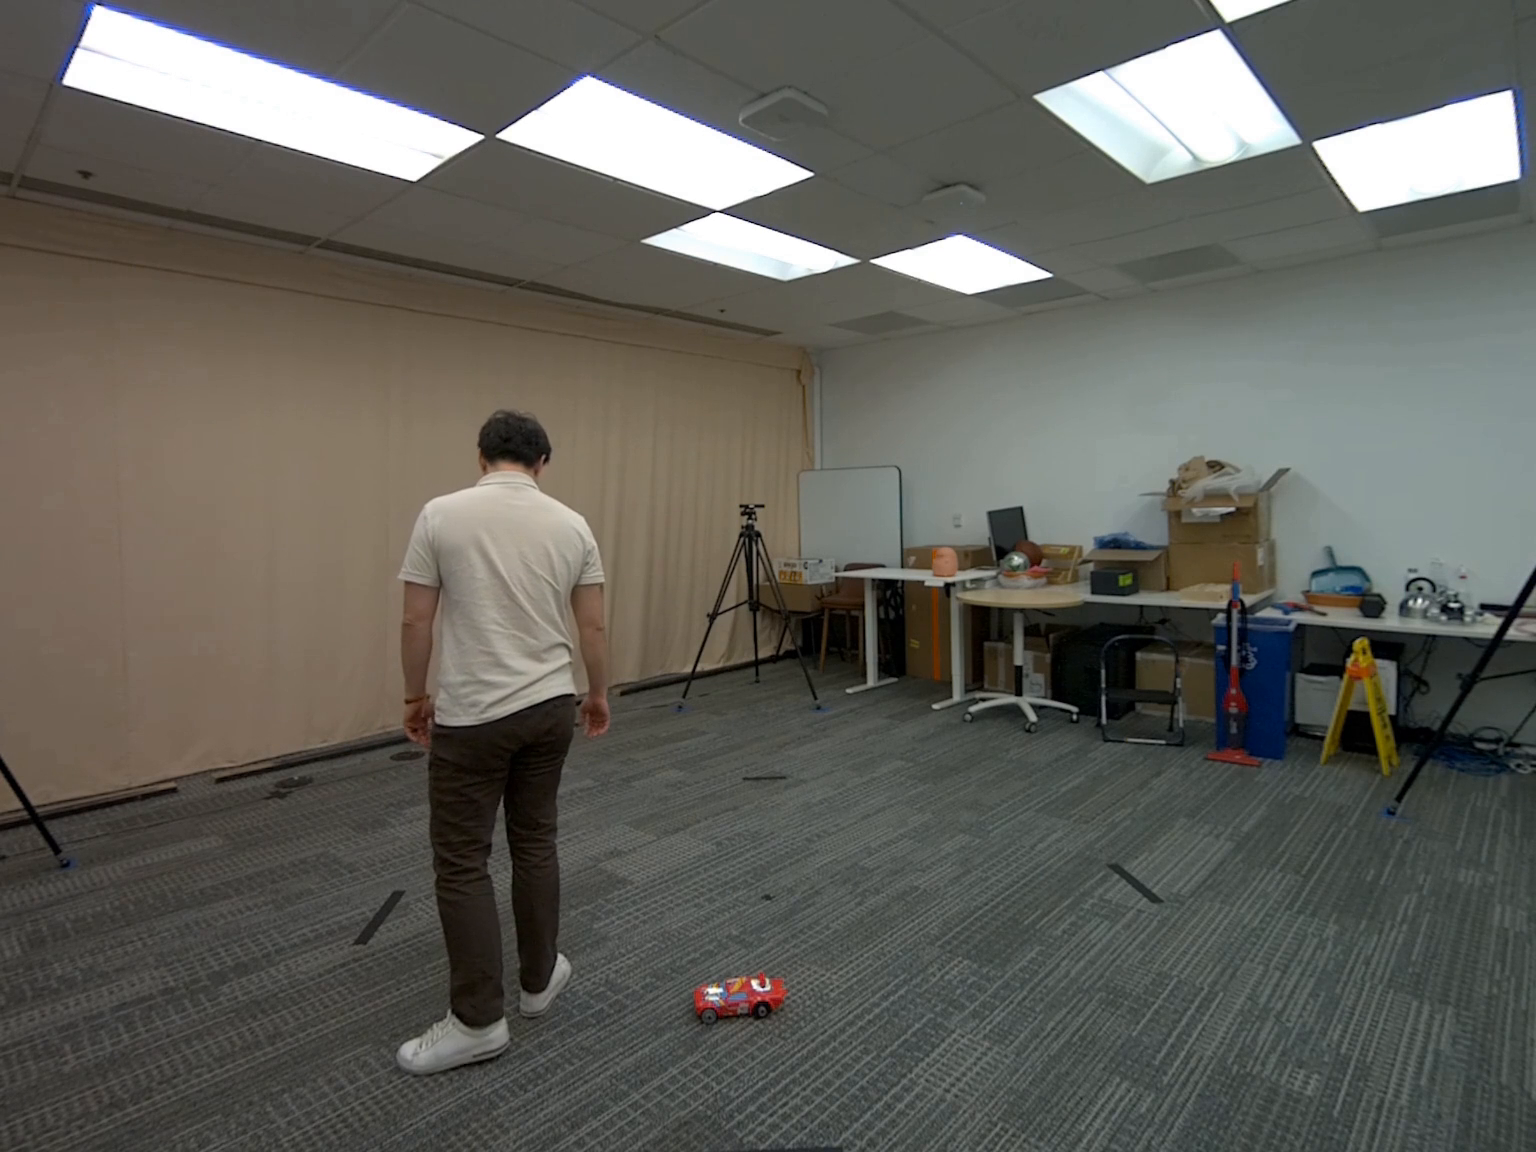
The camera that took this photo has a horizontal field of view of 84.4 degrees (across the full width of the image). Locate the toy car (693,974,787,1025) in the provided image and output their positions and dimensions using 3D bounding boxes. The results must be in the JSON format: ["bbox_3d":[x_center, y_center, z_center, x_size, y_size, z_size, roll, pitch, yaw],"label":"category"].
[{"bbox_3d":[-0.071,1.167,2.320,0.253,0.083,0.131,-13,6,-6],"label":"toy car"}]
